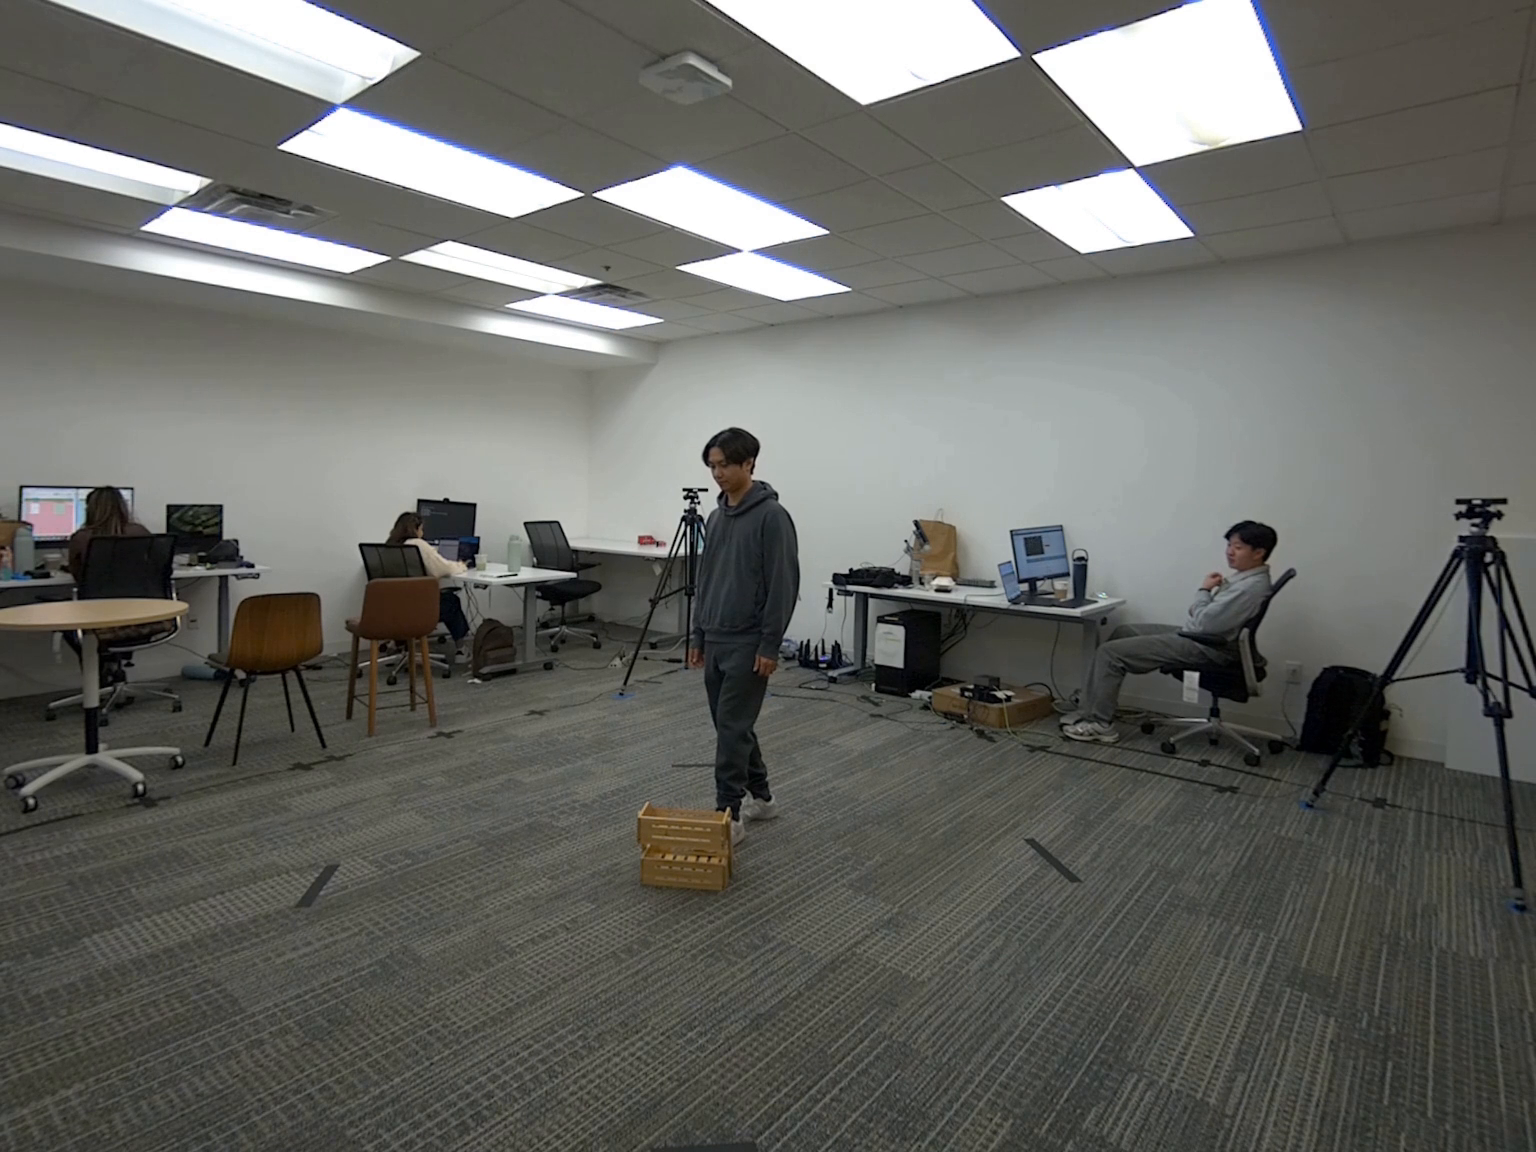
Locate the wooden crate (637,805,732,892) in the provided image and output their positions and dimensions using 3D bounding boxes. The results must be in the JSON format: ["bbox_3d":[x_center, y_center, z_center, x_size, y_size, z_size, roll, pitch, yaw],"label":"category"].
[{"bbox_3d":[-0.300,0.942,3.055,0.327,0.272,0.301,2,5,6],"label":"wooden crate"}]
